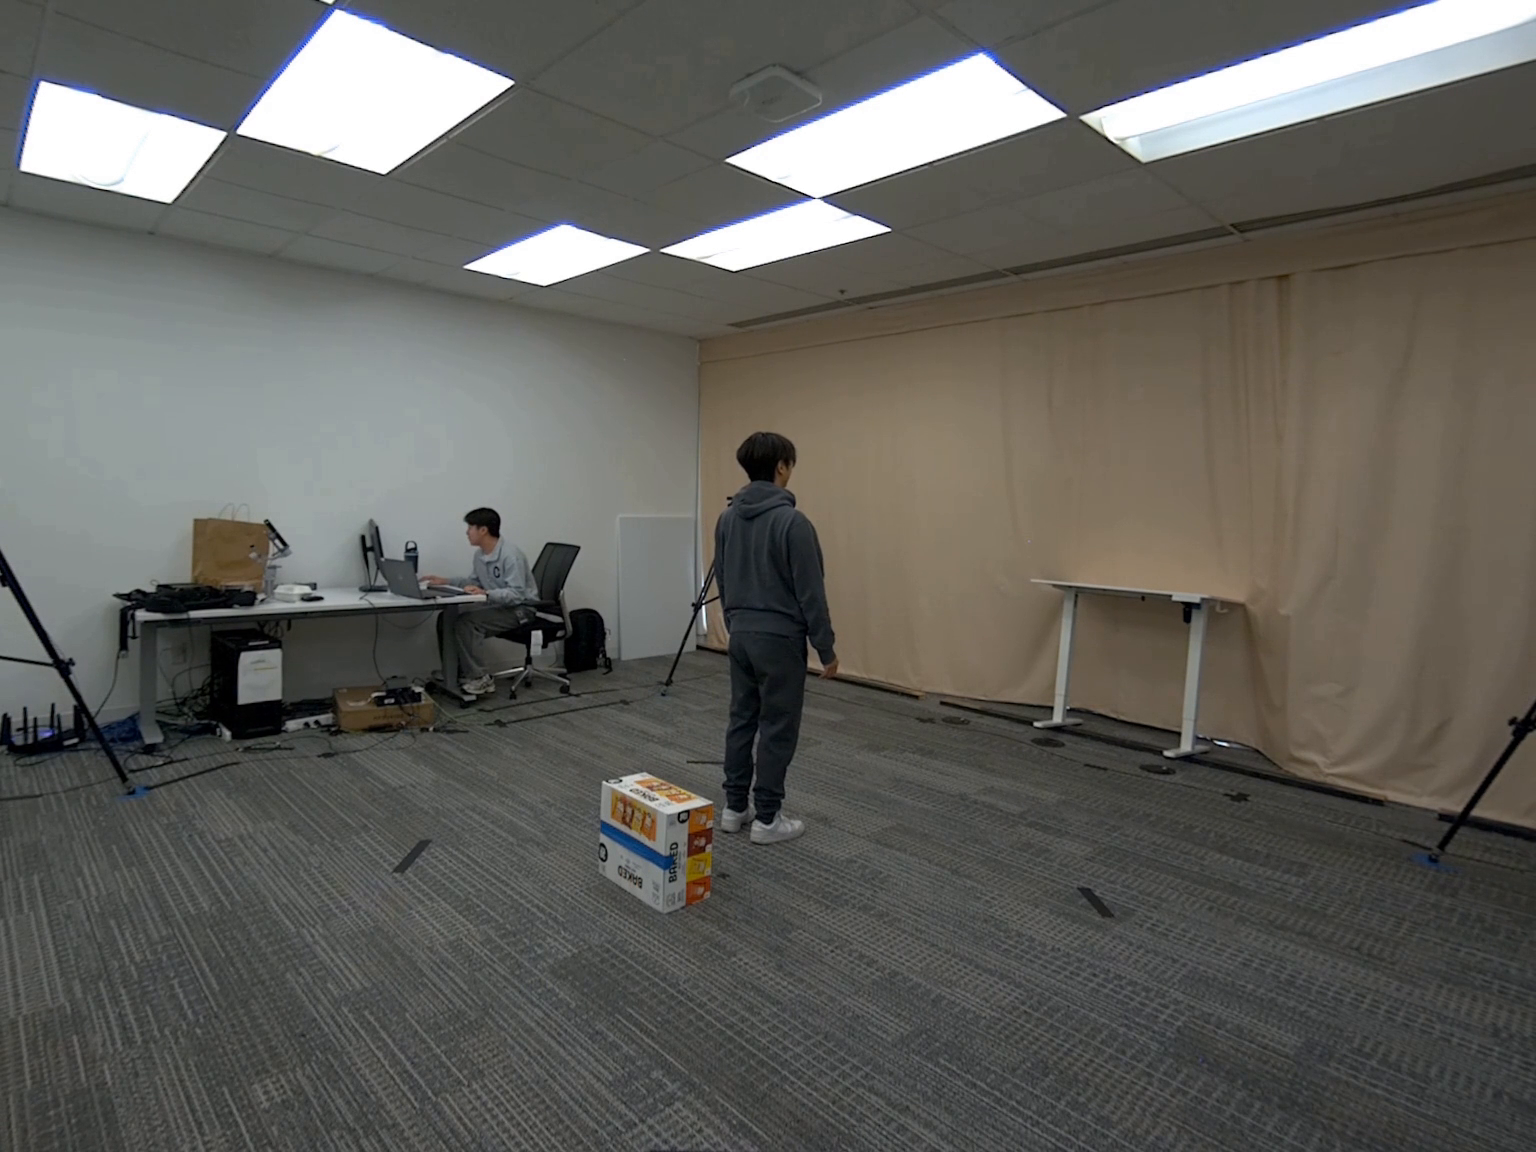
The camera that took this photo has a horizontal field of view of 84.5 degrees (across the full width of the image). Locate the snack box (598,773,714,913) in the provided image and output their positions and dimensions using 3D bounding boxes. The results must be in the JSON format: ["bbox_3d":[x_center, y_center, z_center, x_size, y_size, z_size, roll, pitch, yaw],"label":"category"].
[{"bbox_3d":[-0.413,0.942,3.008,0.201,0.340,0.415,0,4,-42],"label":"snack box"}]
